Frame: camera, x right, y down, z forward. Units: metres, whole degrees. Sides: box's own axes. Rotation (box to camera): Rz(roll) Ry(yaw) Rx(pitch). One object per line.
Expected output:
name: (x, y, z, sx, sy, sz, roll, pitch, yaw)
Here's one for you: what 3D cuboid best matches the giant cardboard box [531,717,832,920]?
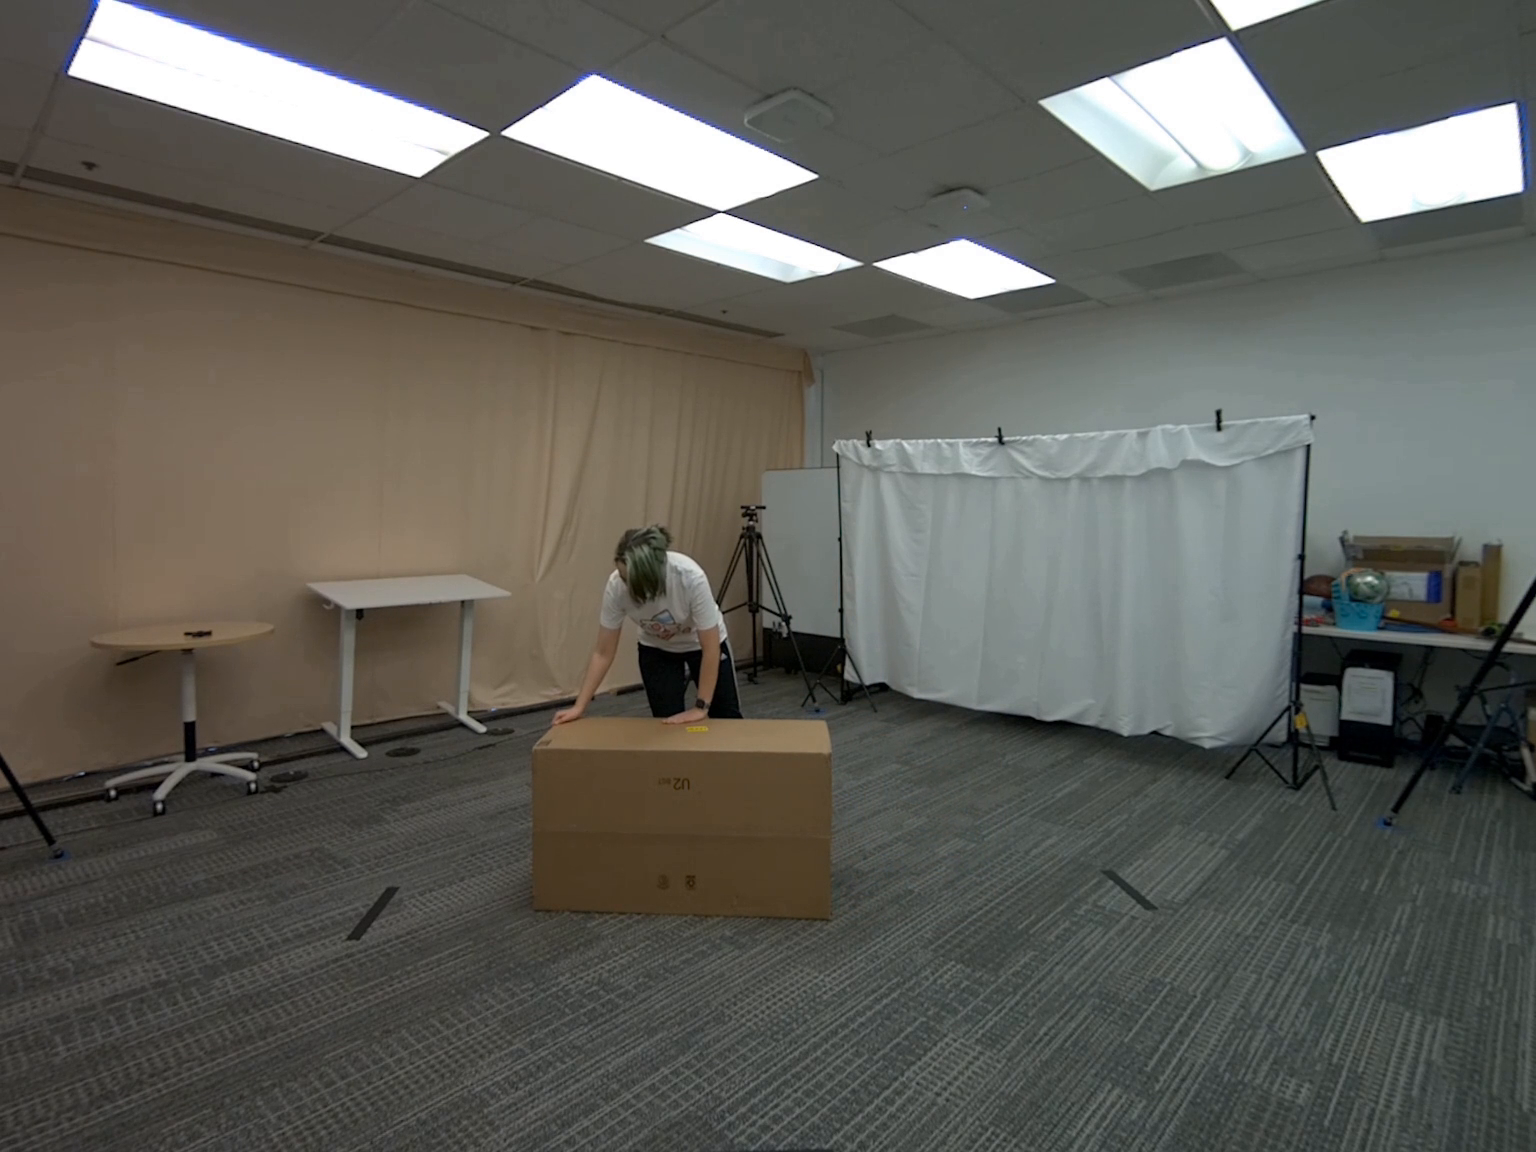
giant cardboard box: (-0.292, 0.853, 3.056, 1.030, 0.576, 0.425, 0, 4, 4)
